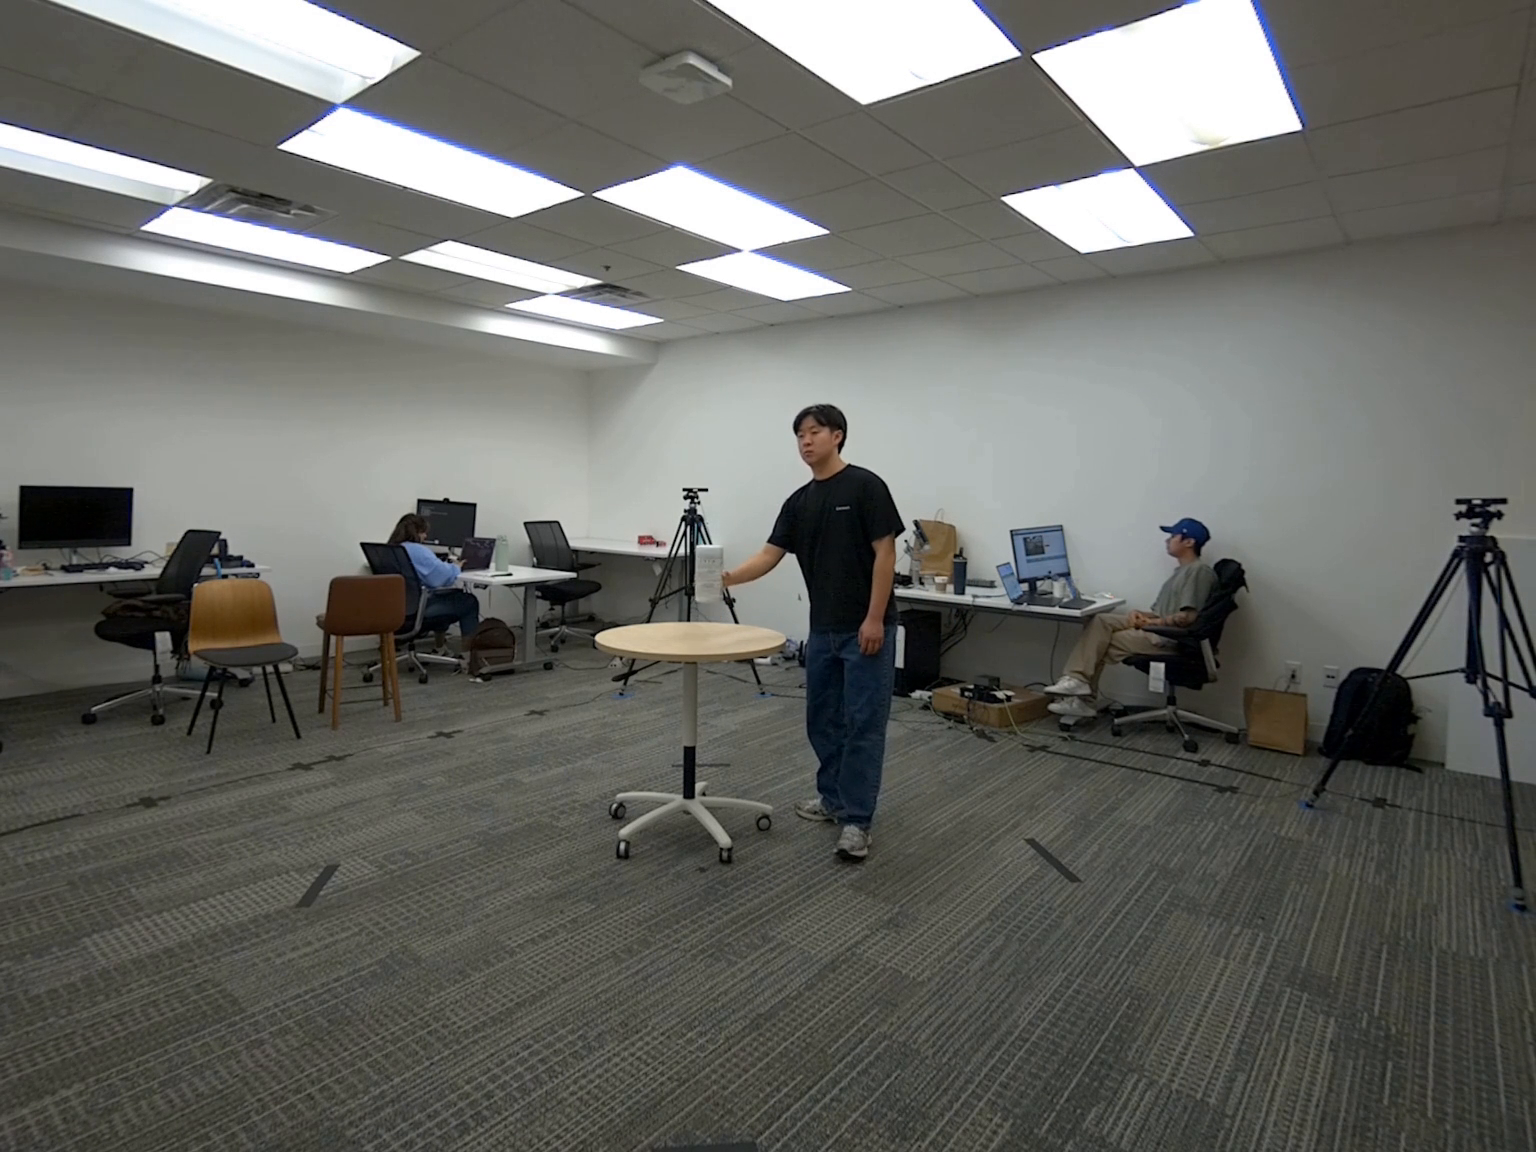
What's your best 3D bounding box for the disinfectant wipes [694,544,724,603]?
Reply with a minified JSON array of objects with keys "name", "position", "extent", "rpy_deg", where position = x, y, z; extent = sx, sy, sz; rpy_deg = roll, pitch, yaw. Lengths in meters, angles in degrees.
[{"name":"disinfectant wipes","position":[-0.235,-0.016,3.275],"extent":[0.118,0.217,0.118],"rpy_deg":[-1,3,-2]}]
